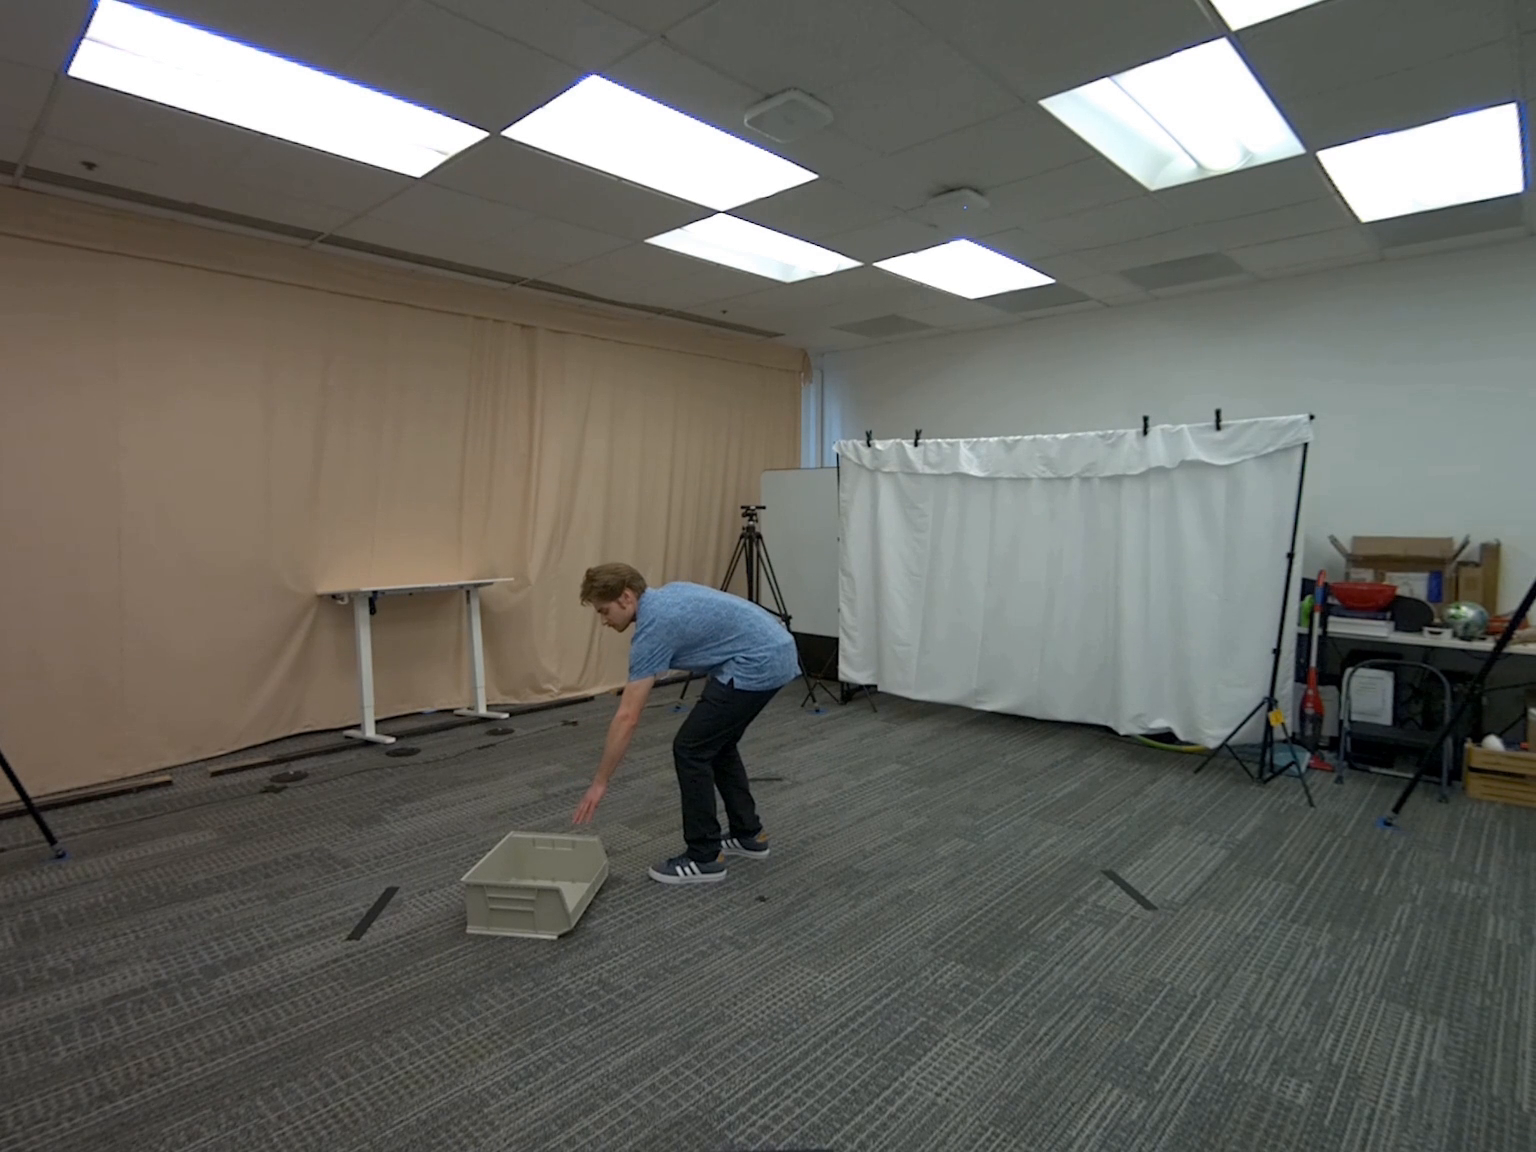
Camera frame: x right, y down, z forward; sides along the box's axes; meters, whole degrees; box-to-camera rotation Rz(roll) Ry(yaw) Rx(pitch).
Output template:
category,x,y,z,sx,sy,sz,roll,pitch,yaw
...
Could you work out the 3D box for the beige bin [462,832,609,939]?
category,x,y,z,sx,sy,sz,roll,pitch,yaw
beige bin,-0.799,1.066,2.928,0.381,0.188,0.420,0,5,7
